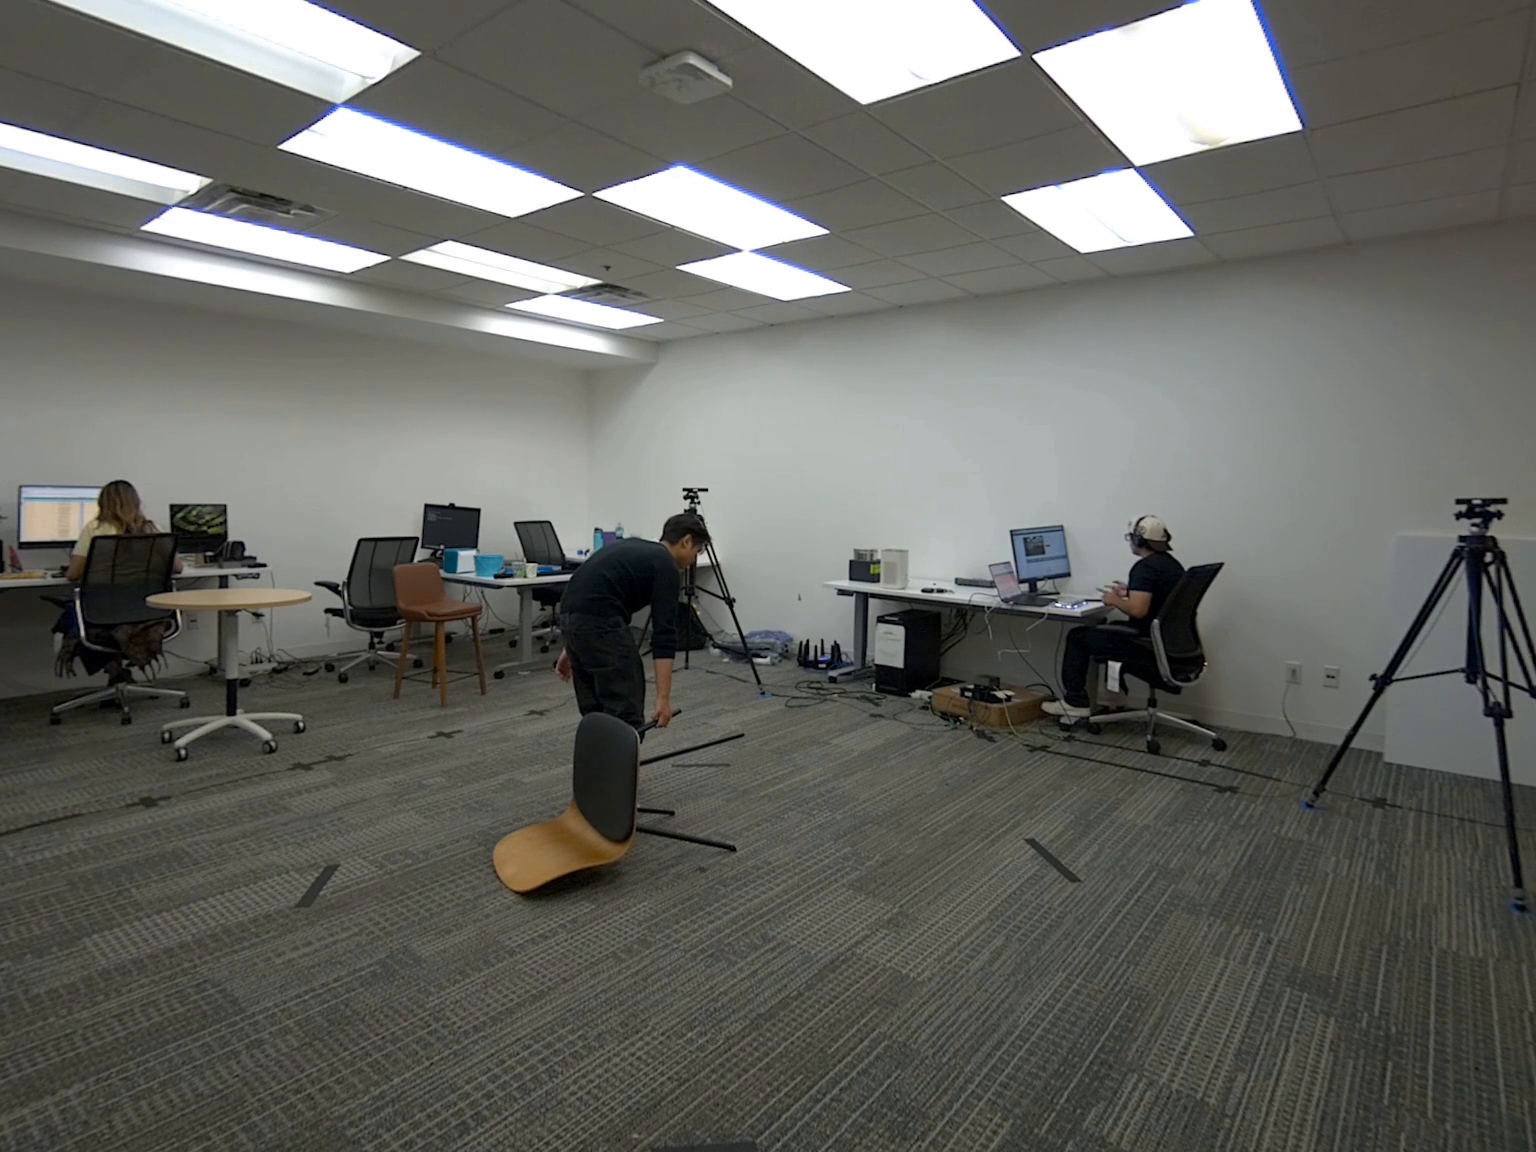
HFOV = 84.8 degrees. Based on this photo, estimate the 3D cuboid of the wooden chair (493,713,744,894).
[{"bbox_3d":[-0.592,0.792,3.197,0.852,0.521,0.494,-4,6,-37],"label":"wooden chair"}]
